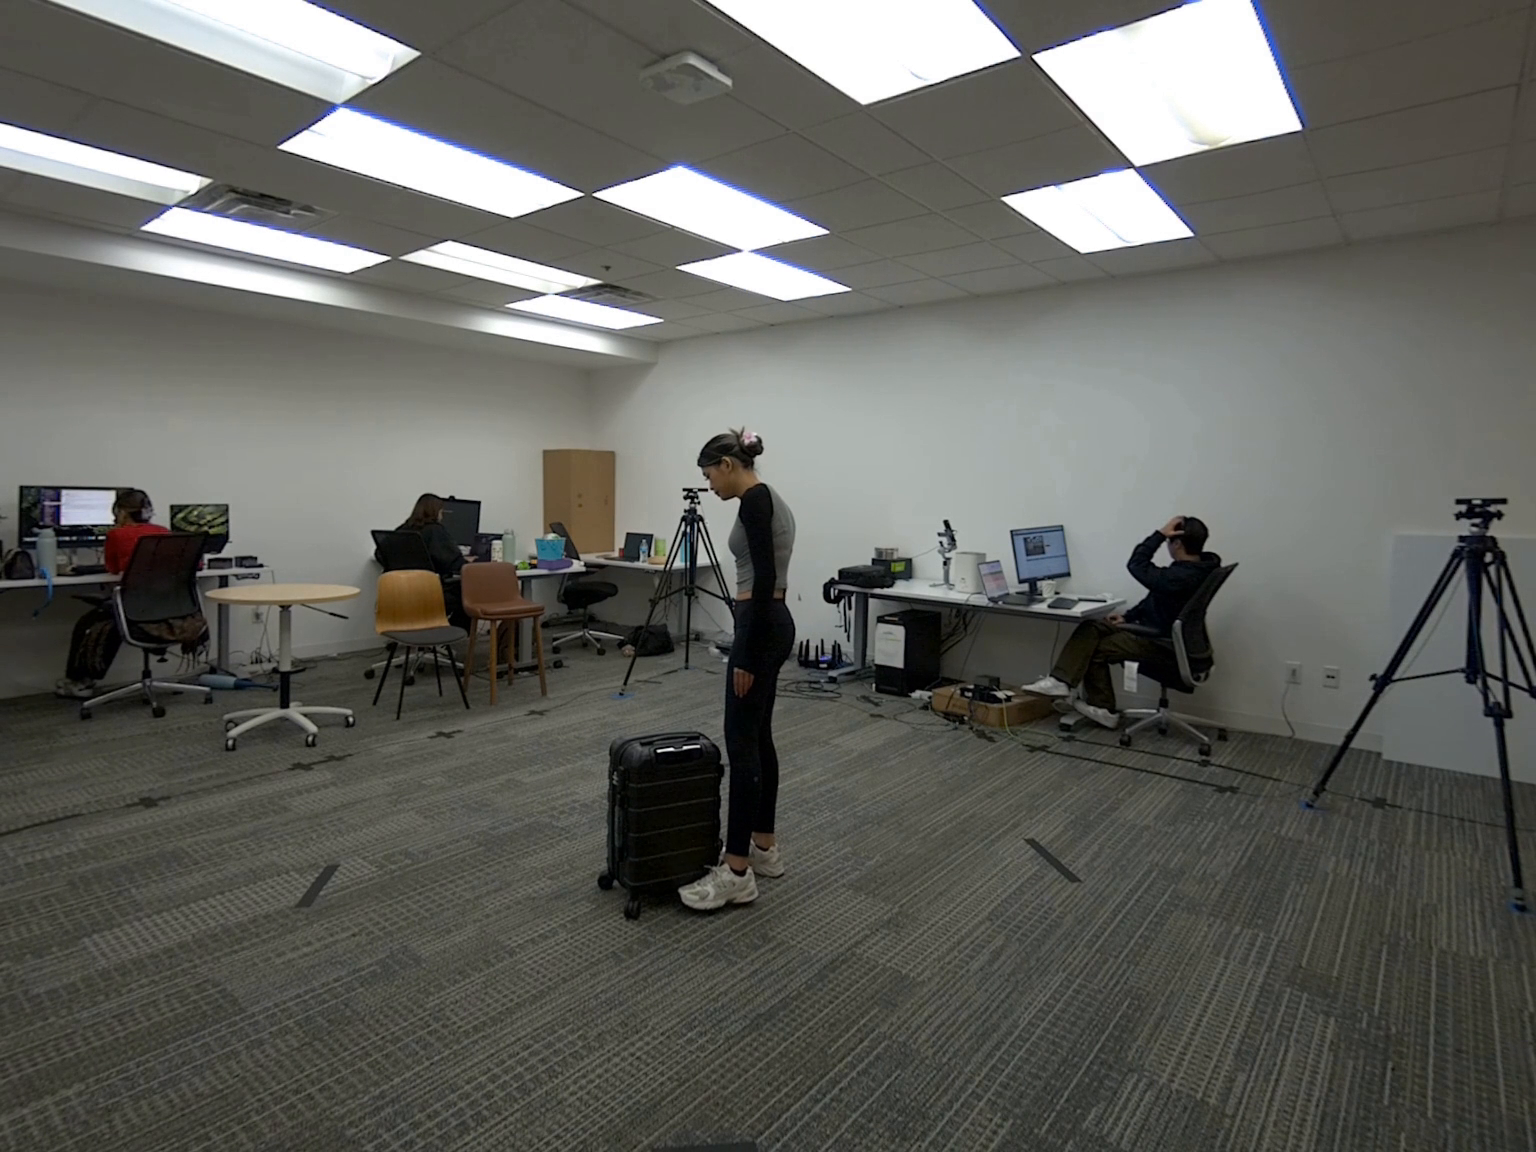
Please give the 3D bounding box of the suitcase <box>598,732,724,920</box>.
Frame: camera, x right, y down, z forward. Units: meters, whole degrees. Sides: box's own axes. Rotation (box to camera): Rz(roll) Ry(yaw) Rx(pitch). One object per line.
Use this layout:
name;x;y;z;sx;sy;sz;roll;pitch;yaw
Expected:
suitcase;-0.372;0.807;2.913;0.366;0.548;0.255;0;2;-28
